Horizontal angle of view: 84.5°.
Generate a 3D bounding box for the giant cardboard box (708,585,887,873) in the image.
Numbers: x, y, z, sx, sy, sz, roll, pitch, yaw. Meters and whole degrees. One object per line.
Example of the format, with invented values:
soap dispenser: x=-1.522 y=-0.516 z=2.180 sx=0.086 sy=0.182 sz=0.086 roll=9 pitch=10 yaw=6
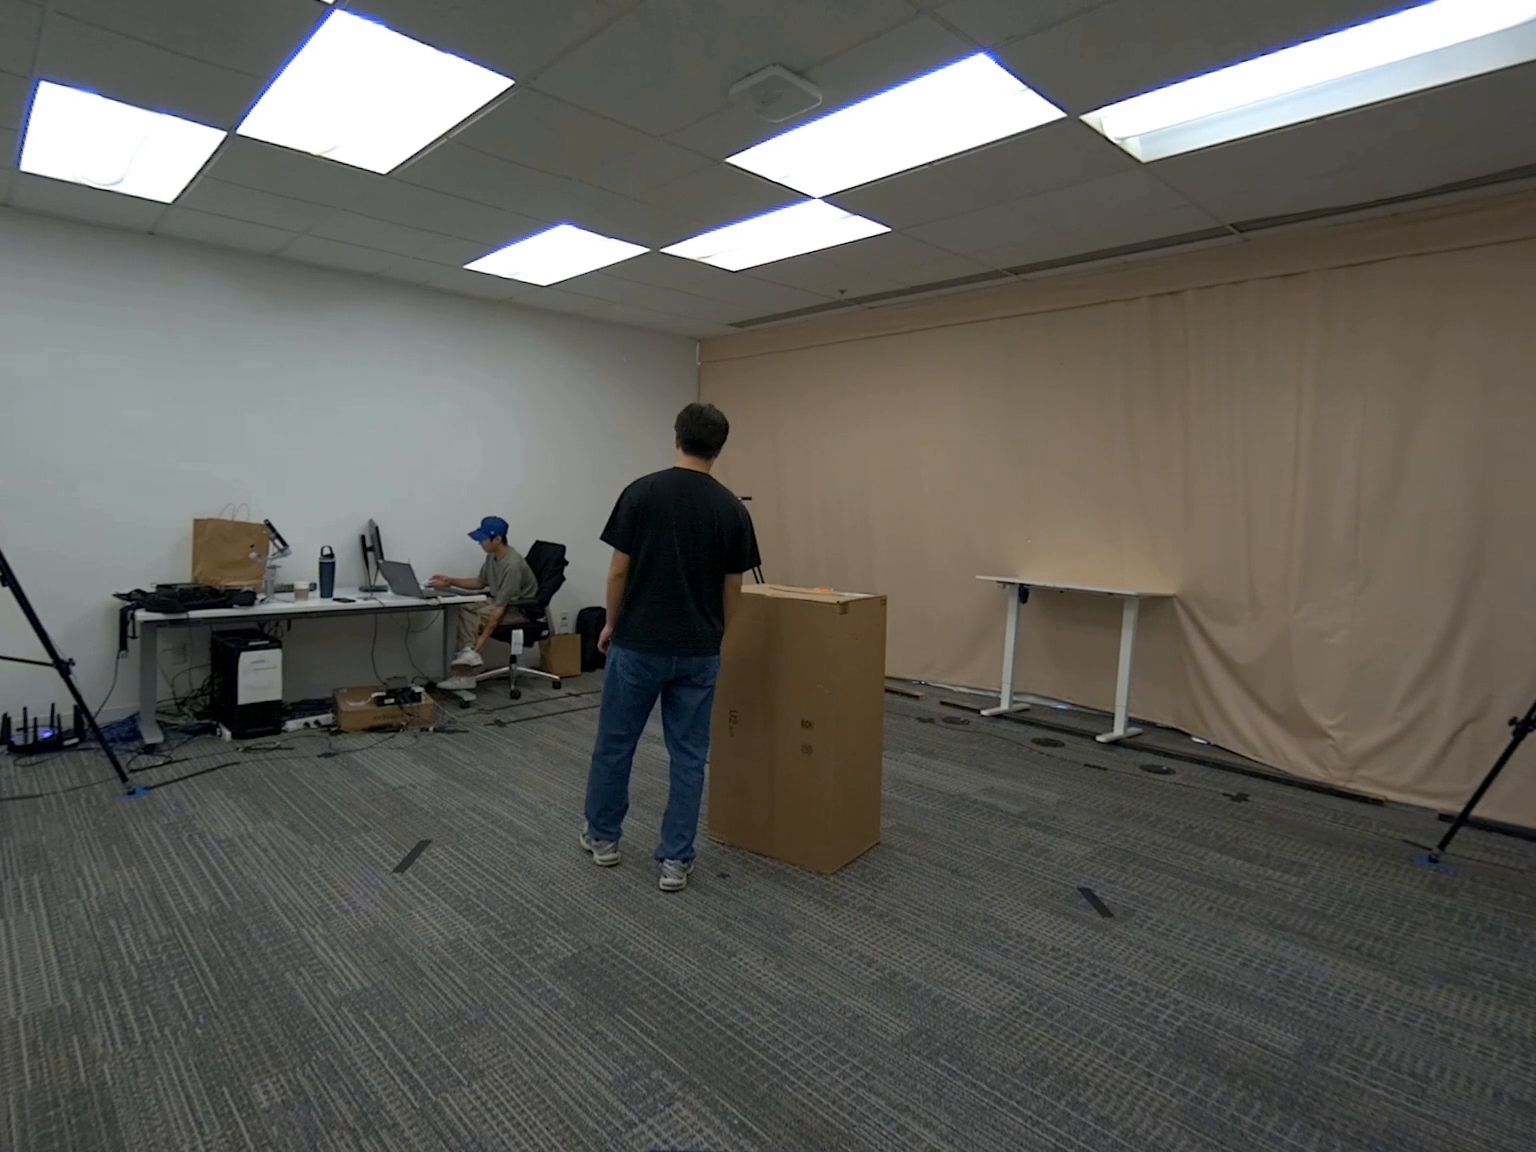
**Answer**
giant cardboard box: x=0.120 y=0.572 z=3.432 sx=0.598 sy=1.025 sz=0.437 roll=4 pitch=3 yaw=36
